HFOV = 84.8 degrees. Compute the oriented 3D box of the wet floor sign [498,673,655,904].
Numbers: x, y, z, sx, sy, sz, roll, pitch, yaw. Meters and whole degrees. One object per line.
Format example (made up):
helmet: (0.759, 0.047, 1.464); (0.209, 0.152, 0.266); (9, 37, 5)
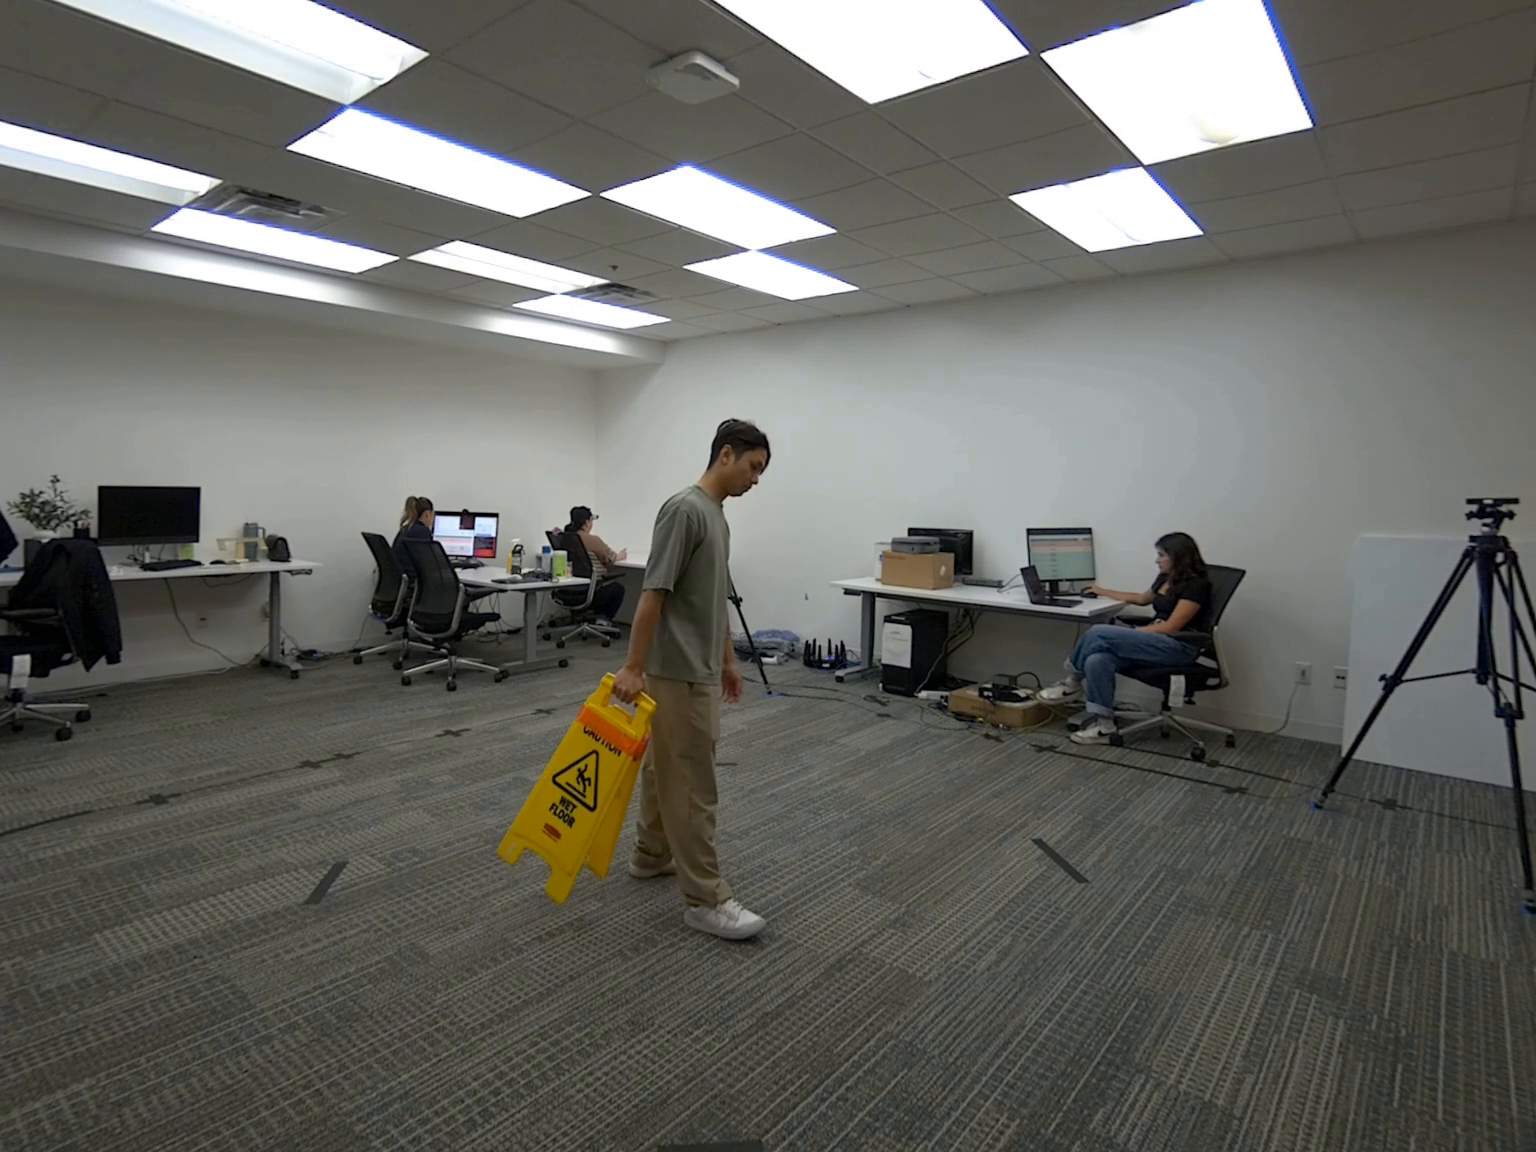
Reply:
wet floor sign: (-0.557, 0.632, 2.659); (0.290, 0.644, 0.282); (27, 7, 20)
